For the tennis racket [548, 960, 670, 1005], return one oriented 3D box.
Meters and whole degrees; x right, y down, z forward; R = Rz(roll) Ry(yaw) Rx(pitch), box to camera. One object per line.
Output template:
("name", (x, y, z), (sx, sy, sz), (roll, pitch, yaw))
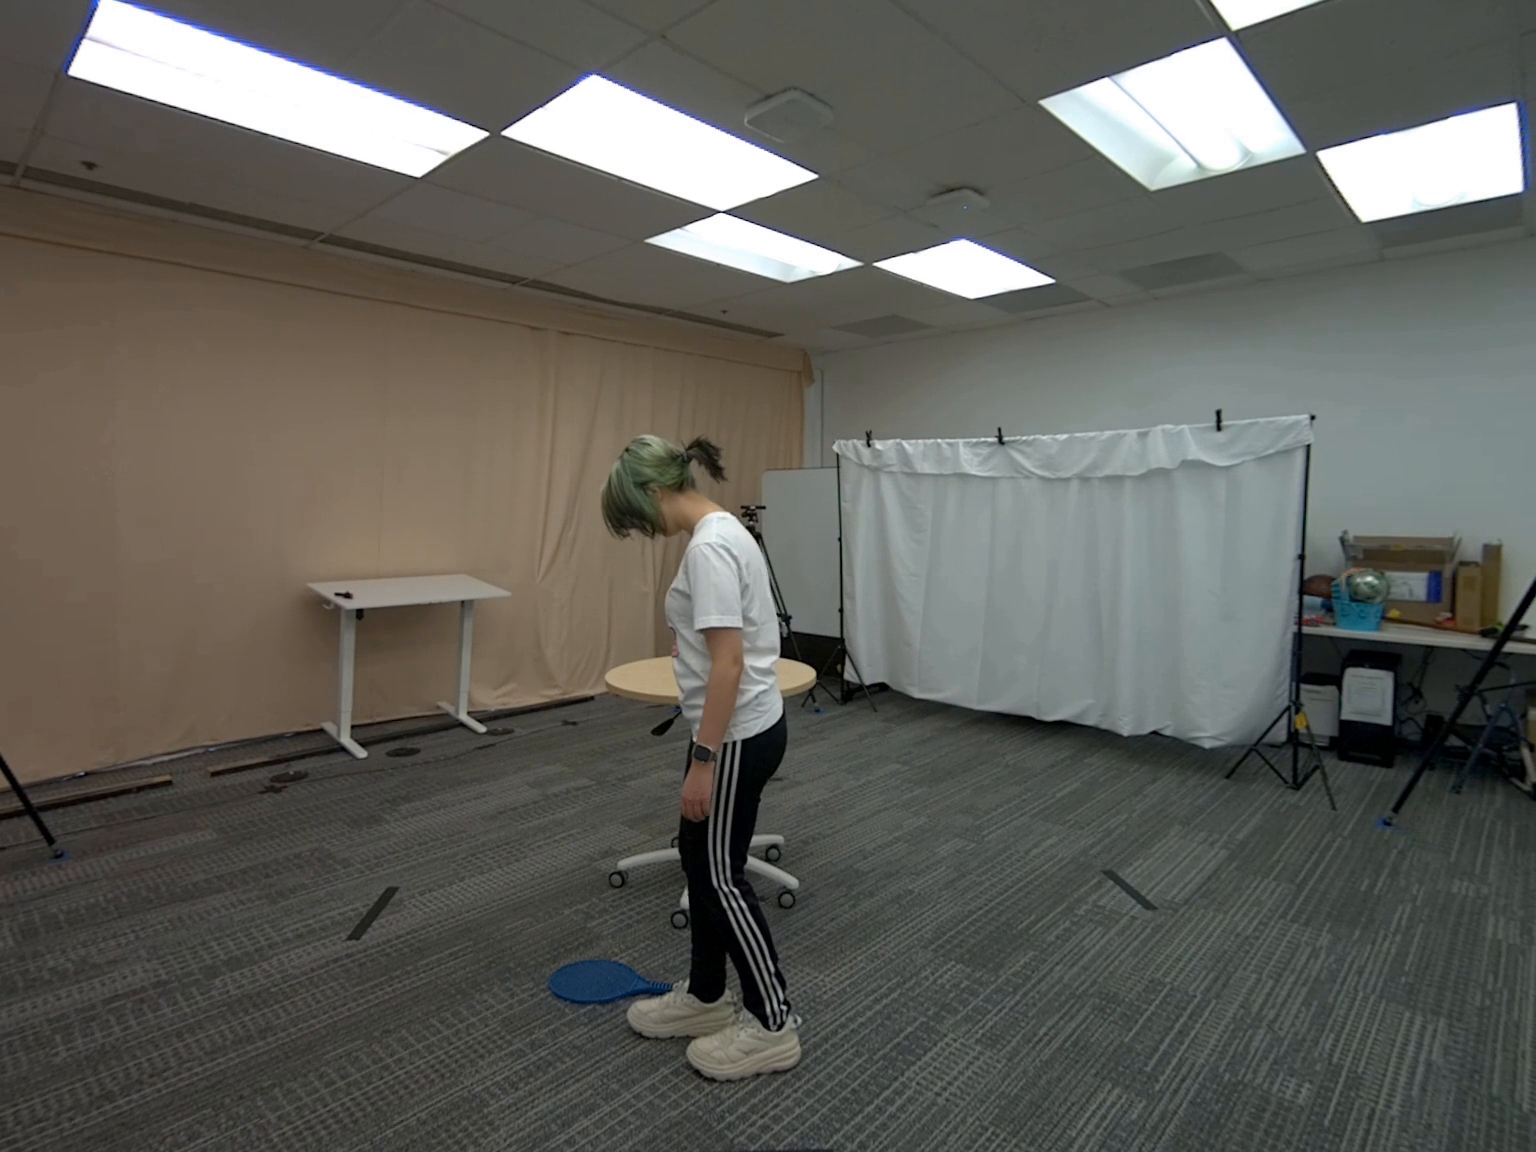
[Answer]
("tennis racket", (-0.430, 1.180, 2.436), (0.439, 0.032, 0.211), (-1, 4, 14))
